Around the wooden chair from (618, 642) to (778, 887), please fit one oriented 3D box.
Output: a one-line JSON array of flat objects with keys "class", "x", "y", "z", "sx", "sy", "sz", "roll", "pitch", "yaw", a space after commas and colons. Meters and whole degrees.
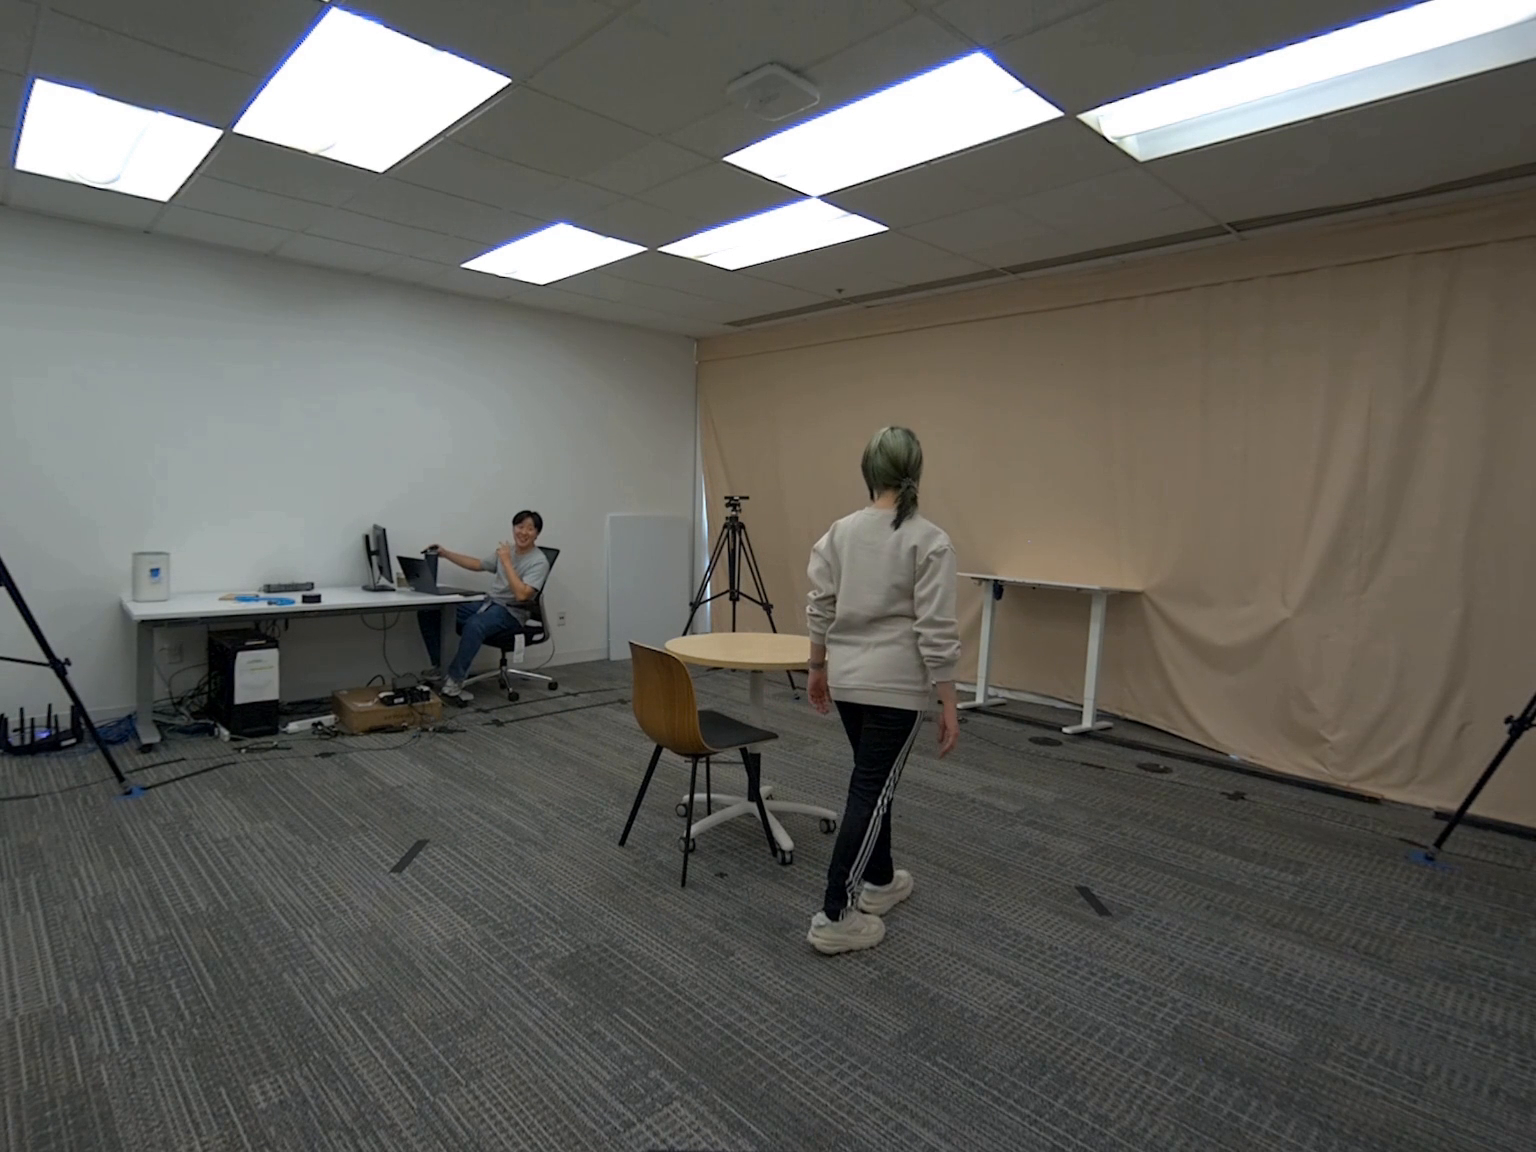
[{"class": "wooden chair", "x": -0.262, "y": 0.658, "z": 3.277, "sx": 0.512, "sy": 0.874, "sz": 0.490, "roll": -6, "pitch": 7, "yaw": -38}]
